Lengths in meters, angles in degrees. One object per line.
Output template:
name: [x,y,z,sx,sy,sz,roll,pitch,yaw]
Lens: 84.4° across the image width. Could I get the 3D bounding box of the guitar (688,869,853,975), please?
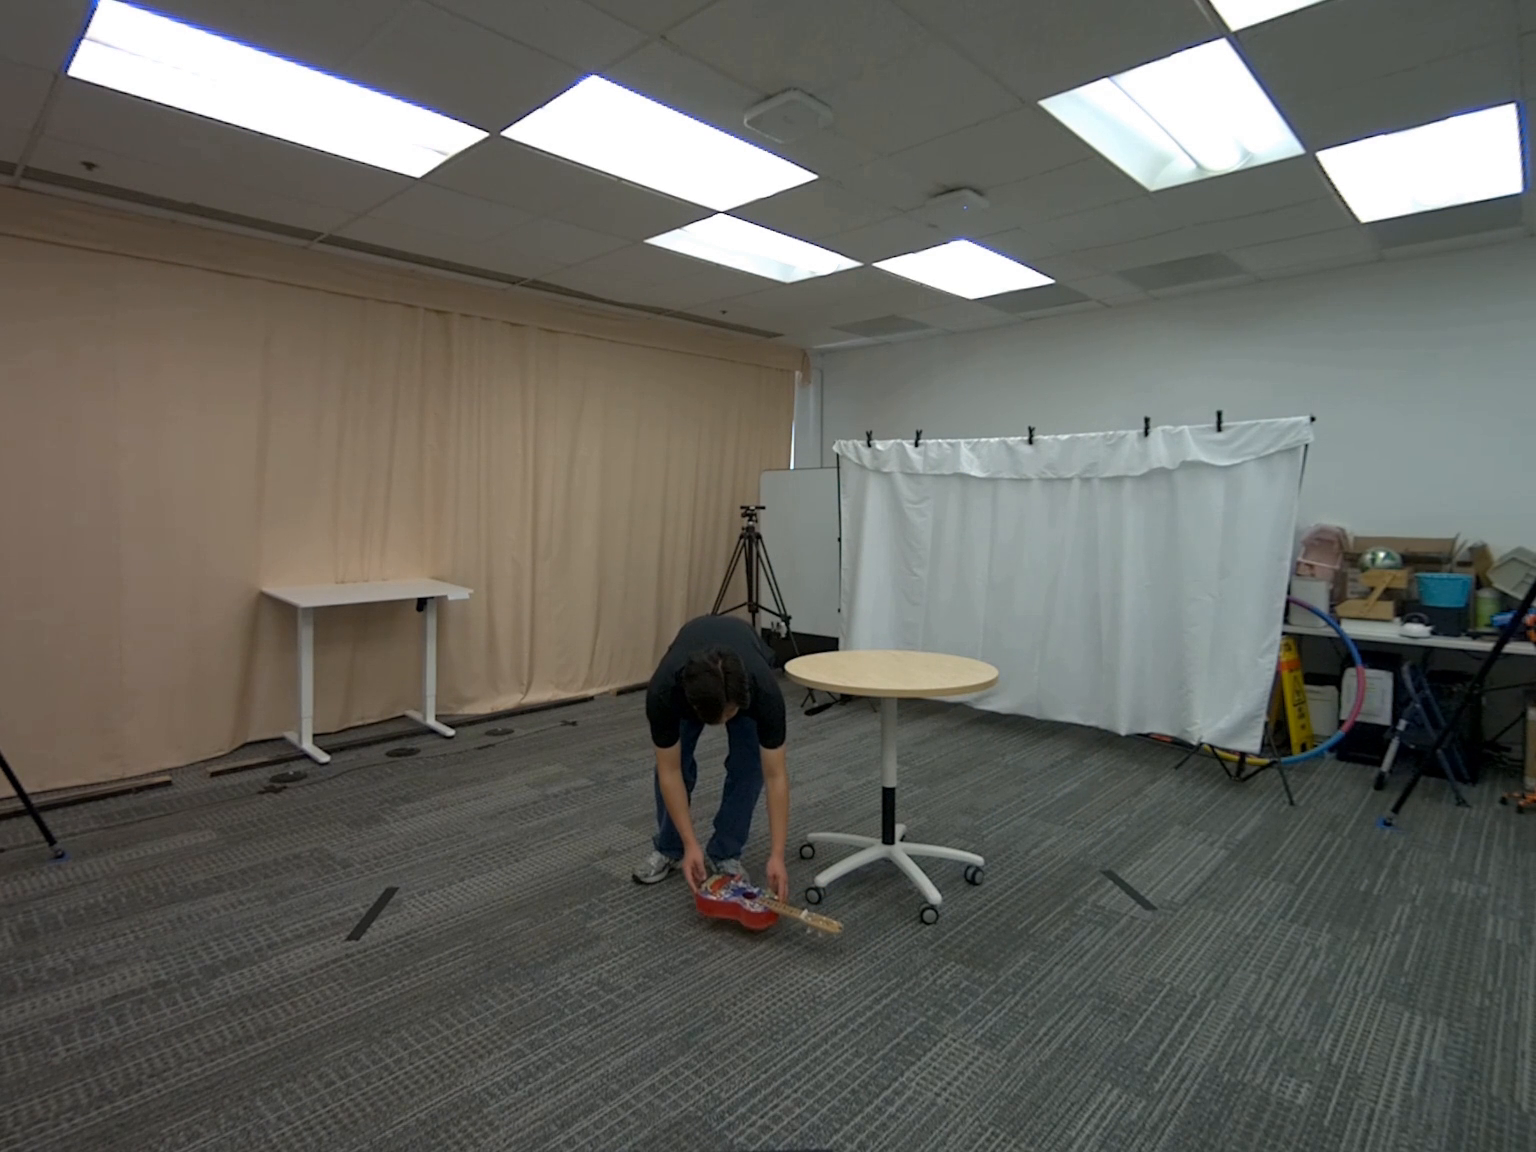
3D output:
guitar: [-0.003,1.081,2.688,0.514,0.070,0.188,8,13,37]
